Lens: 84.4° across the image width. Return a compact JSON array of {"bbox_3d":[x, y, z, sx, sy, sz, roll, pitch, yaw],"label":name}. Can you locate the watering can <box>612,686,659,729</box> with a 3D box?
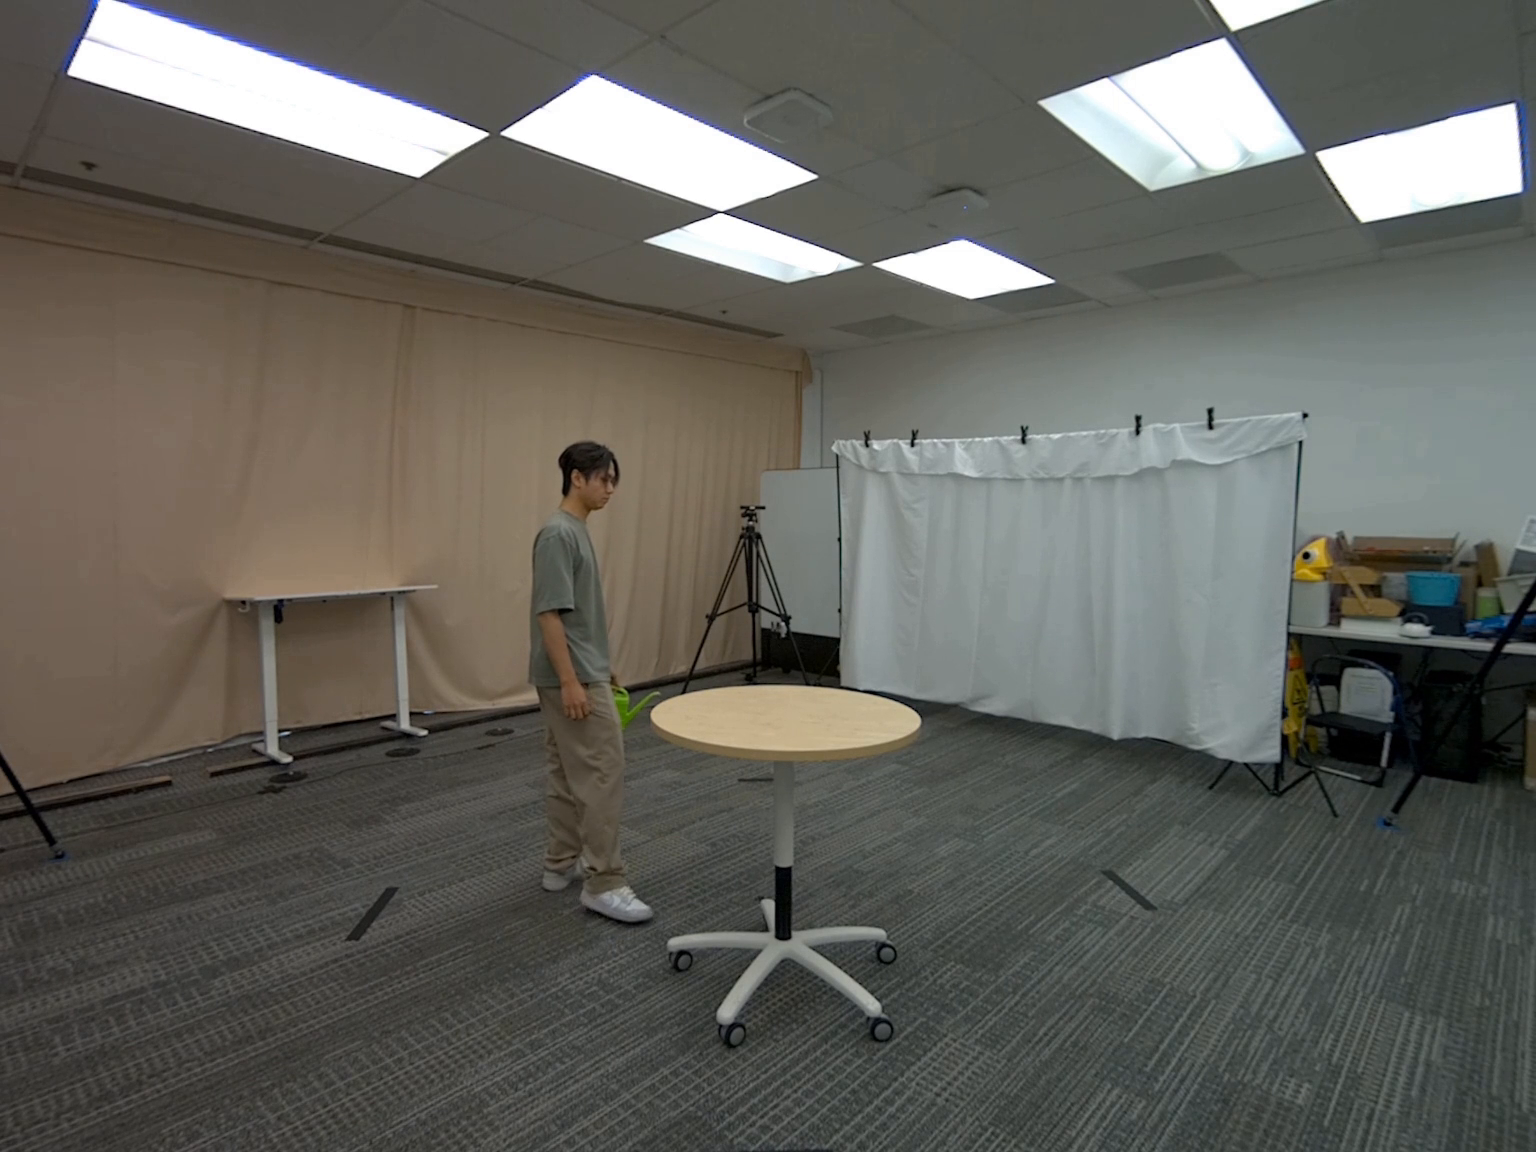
[{"bbox_3d":[-0.580,0.535,3.379,0.280,0.176,0.097,11,3,6],"label":"watering can"}]
